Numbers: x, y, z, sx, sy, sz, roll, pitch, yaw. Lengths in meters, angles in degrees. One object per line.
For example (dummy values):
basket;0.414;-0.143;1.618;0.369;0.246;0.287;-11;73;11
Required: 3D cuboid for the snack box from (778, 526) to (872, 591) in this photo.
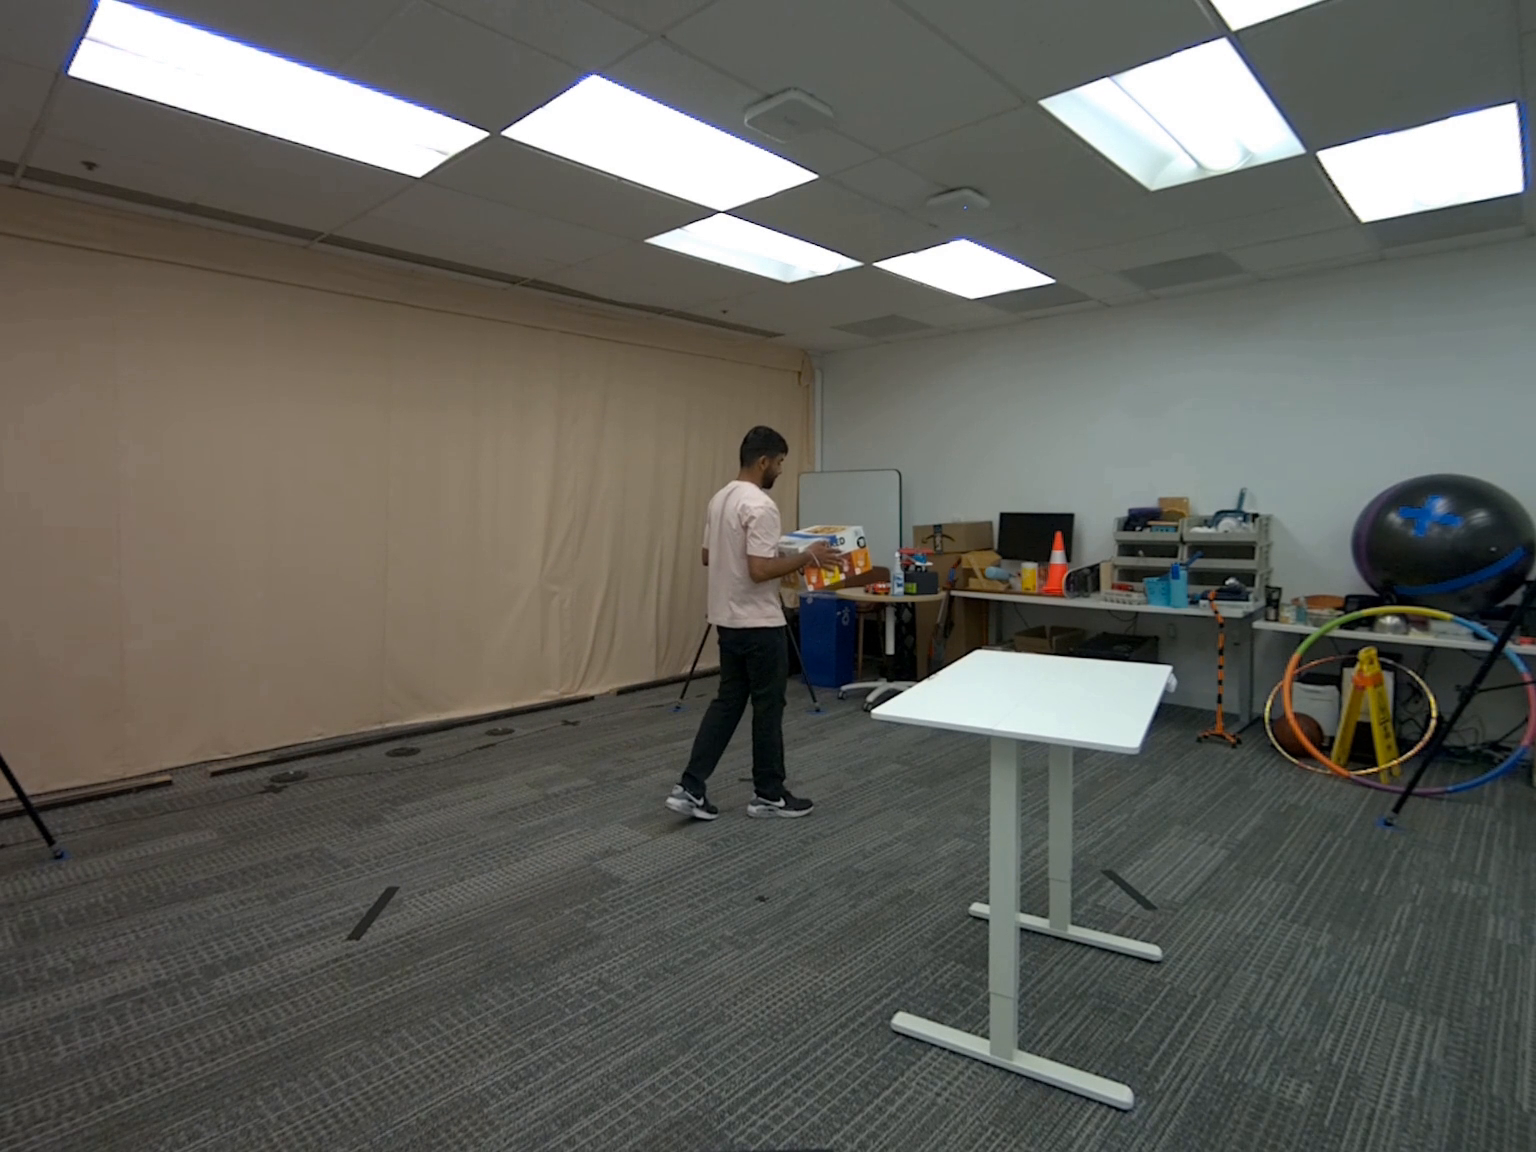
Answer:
snack box;0.202;-0.089;3.875;0.334;0.204;0.416;-18;11;-24
